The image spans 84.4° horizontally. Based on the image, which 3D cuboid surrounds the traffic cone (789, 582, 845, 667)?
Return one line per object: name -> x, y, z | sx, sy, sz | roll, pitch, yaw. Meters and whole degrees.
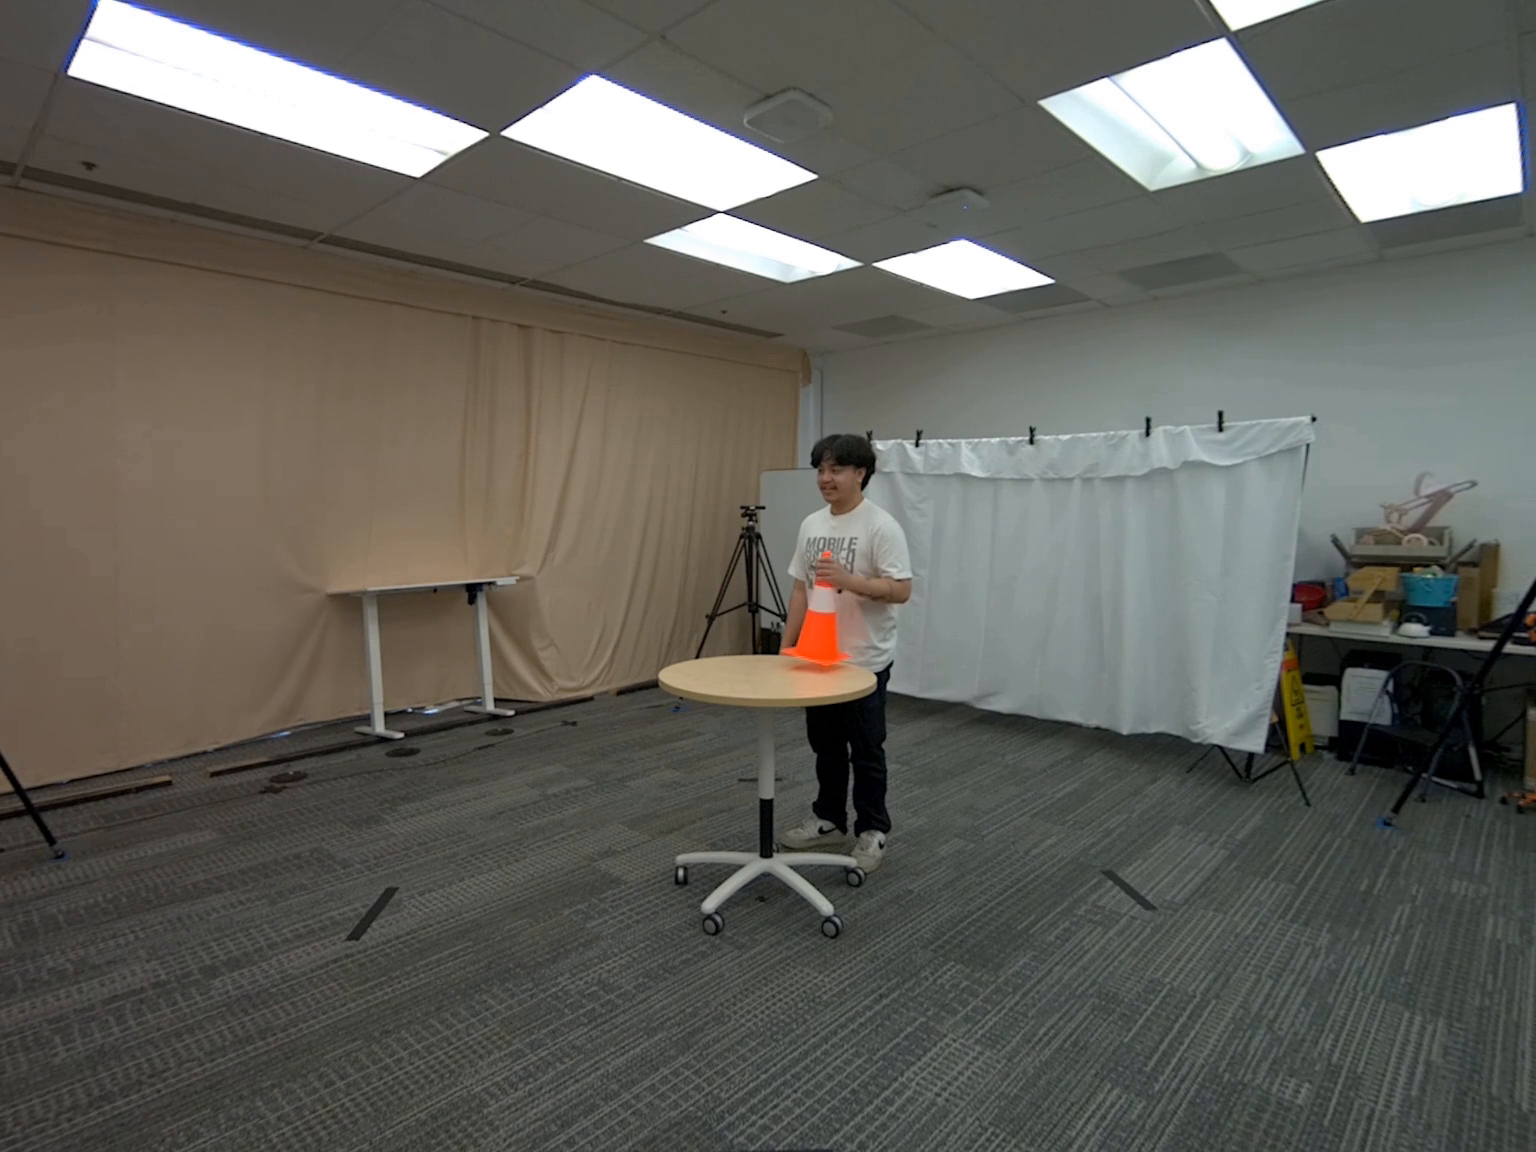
traffic cone -> 0.196, 0.108, 3.070 | 0.211, 0.382, 0.198 | 8, 7, 29
